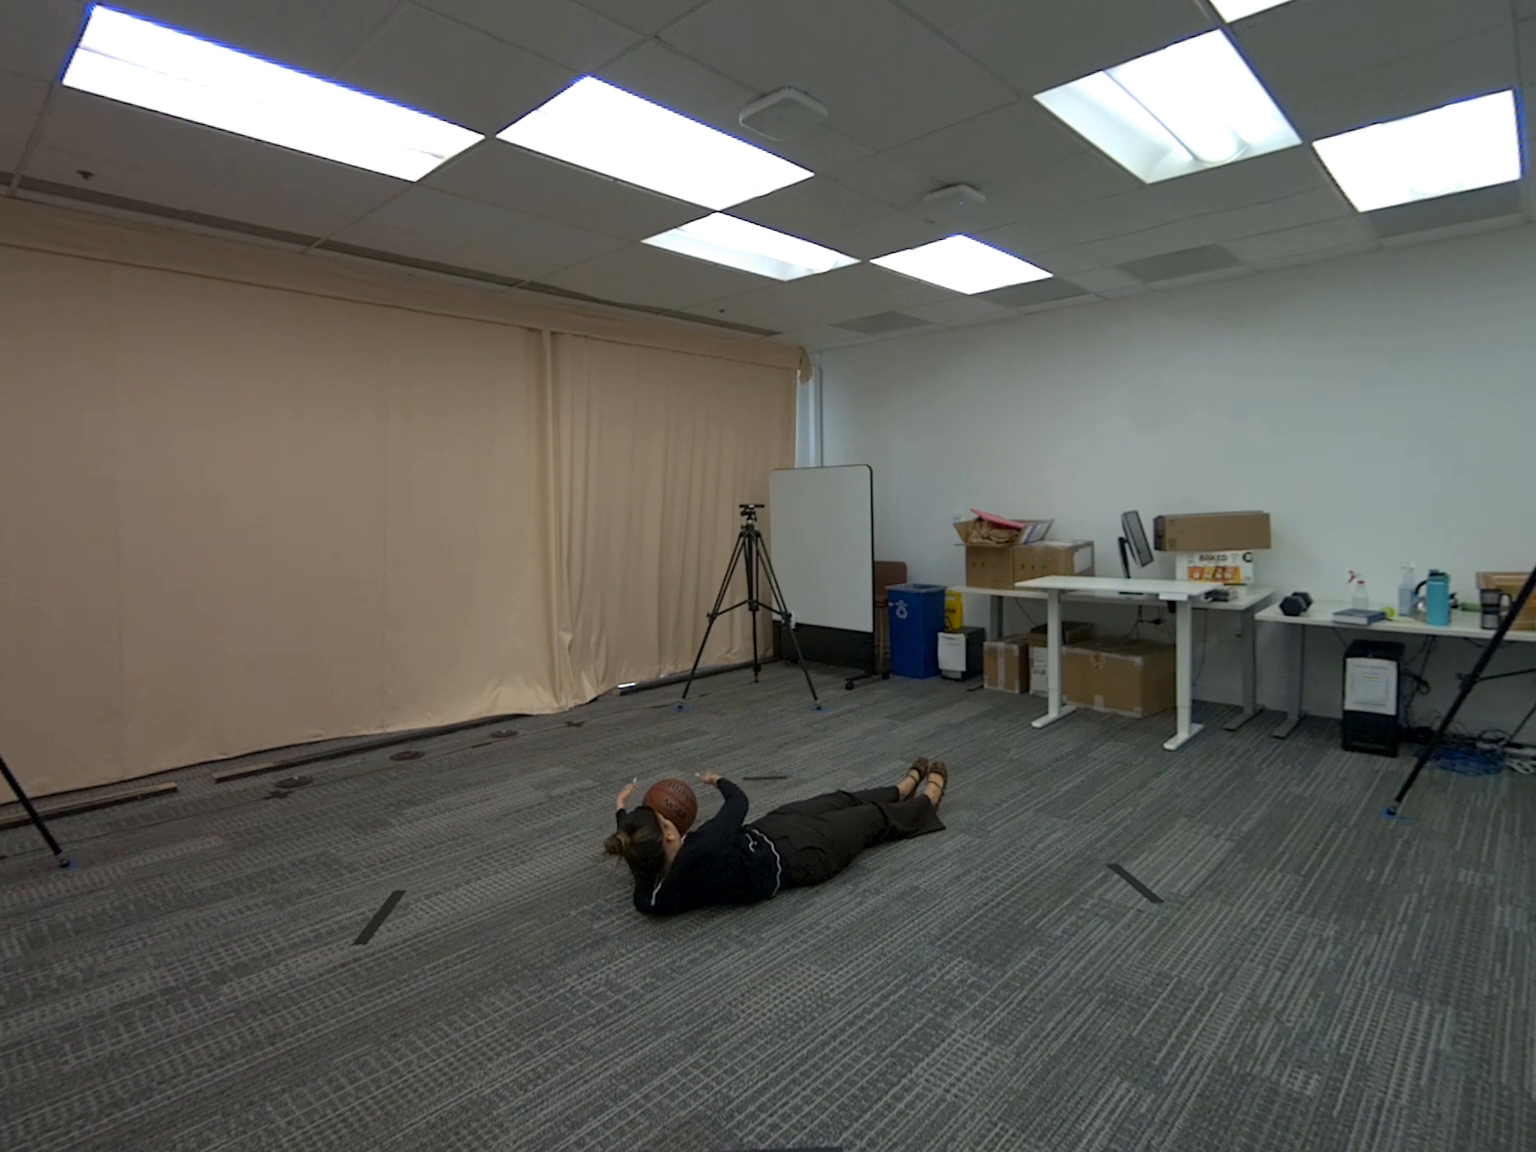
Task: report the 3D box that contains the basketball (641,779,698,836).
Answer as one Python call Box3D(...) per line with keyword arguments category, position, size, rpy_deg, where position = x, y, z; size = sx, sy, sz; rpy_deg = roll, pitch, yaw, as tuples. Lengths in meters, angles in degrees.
Box3D(category="basketball", position=(-0.416, 0.982, 3.564), size=(0.236, 0.235, 0.237), rpy_deg=(-1, 4, -2))
